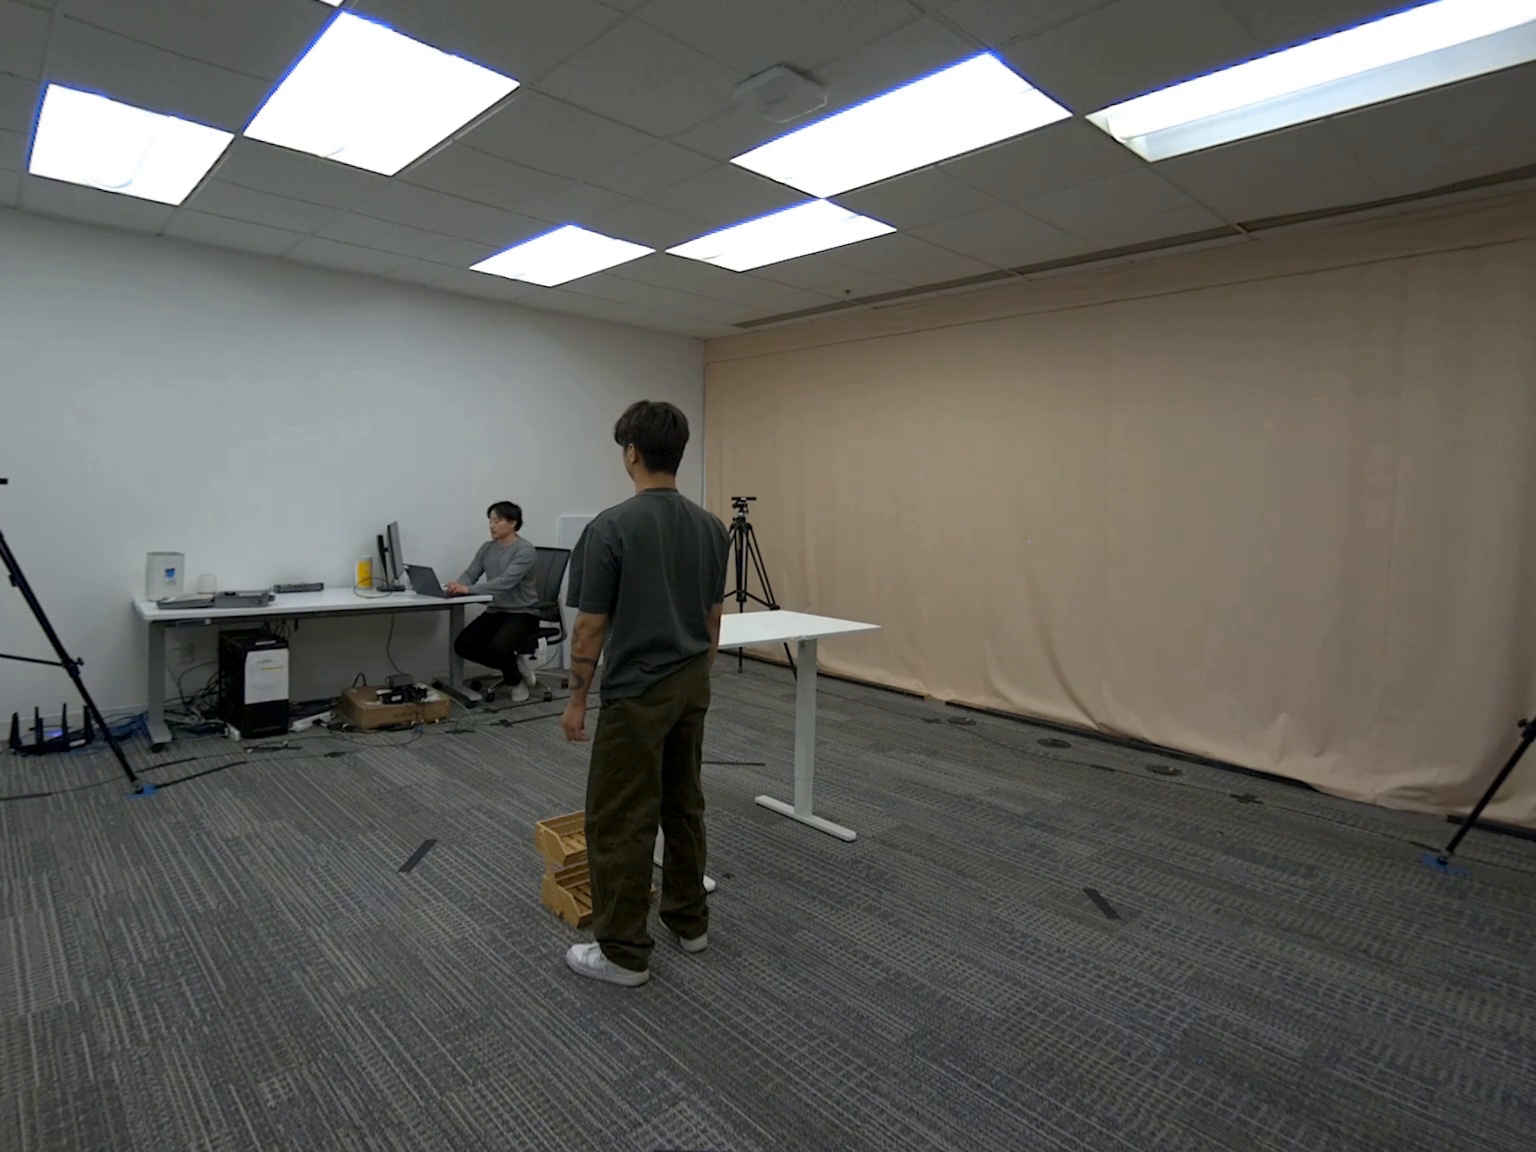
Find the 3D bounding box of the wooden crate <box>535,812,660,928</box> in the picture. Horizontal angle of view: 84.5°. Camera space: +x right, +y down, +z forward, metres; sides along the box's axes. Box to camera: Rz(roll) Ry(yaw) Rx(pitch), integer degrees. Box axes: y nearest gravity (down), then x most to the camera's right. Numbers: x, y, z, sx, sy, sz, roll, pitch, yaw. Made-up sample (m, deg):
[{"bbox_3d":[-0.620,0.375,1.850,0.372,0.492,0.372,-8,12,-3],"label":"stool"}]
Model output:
[{"bbox_3d":[-0.597,0.982,2.885,0.317,0.272,0.310,-3,6,-42],"label":"wooden crate"}]
